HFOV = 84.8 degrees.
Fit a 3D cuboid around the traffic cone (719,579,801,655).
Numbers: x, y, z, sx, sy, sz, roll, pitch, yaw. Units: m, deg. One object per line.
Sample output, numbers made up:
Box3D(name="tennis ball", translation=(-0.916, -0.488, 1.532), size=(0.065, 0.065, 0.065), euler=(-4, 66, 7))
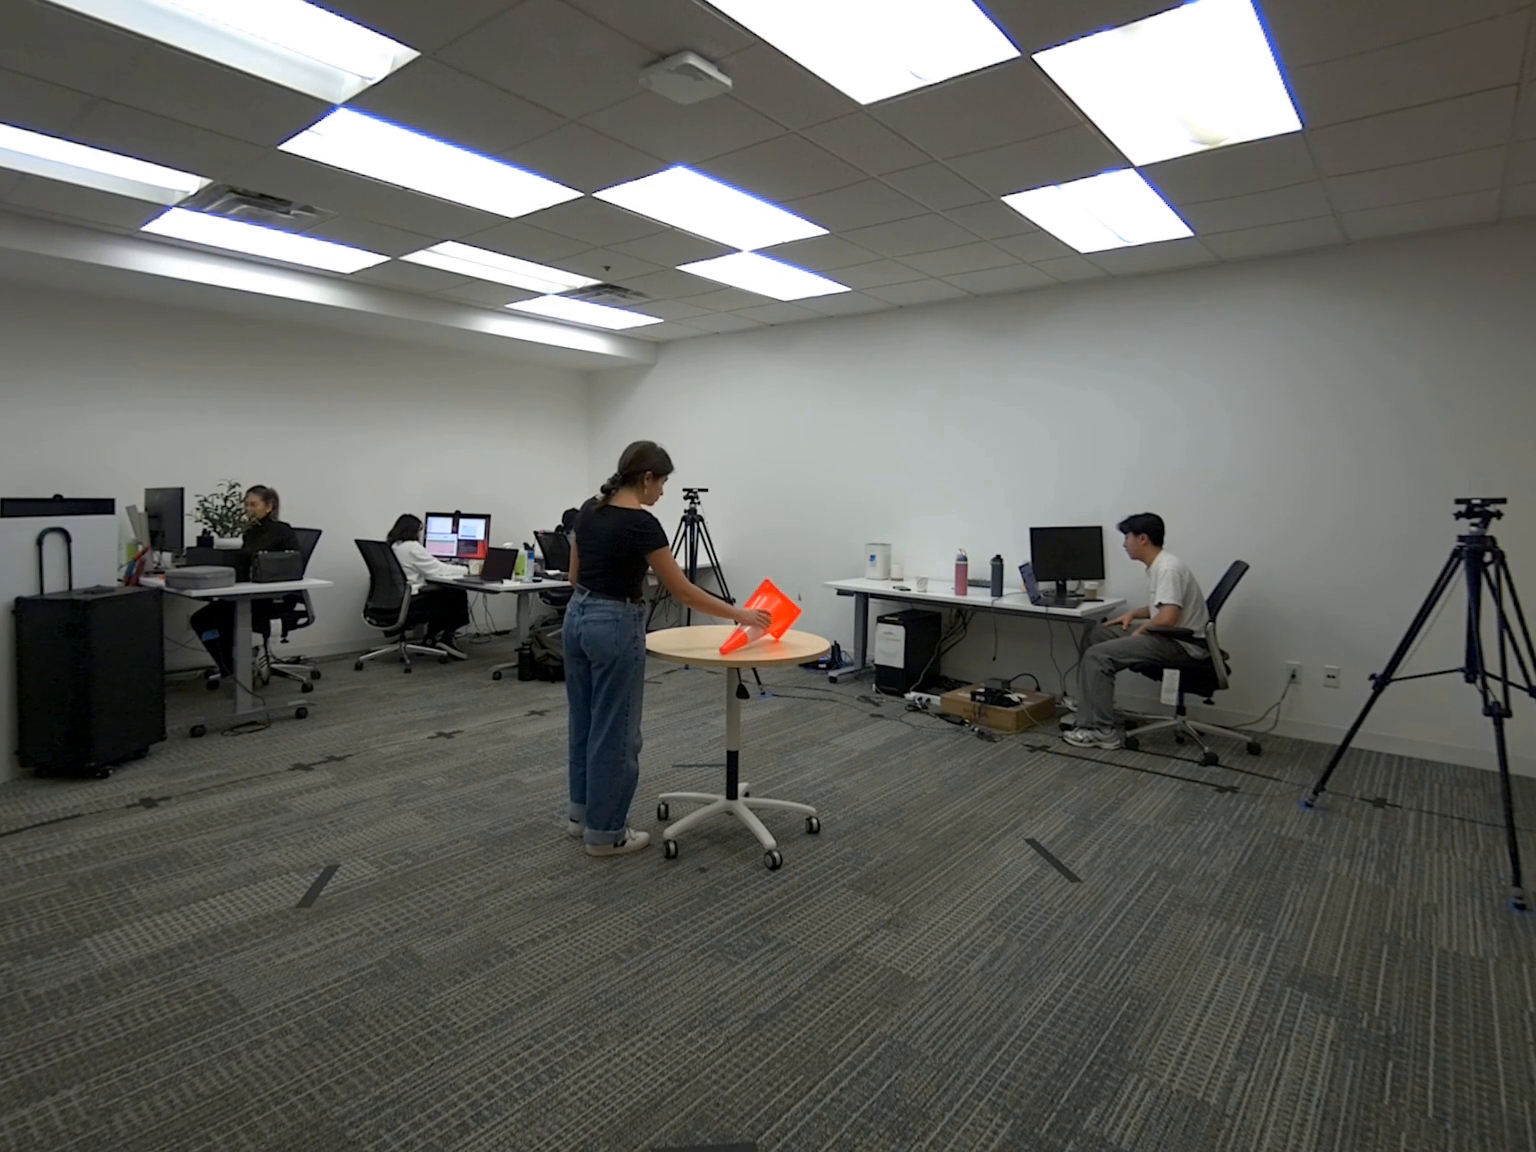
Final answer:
Box3D(name="traffic cone", translation=(-0.078, 0.205, 3.280), size=(0.380, 0.206, 0.204), euler=(-36, -13, -50))
